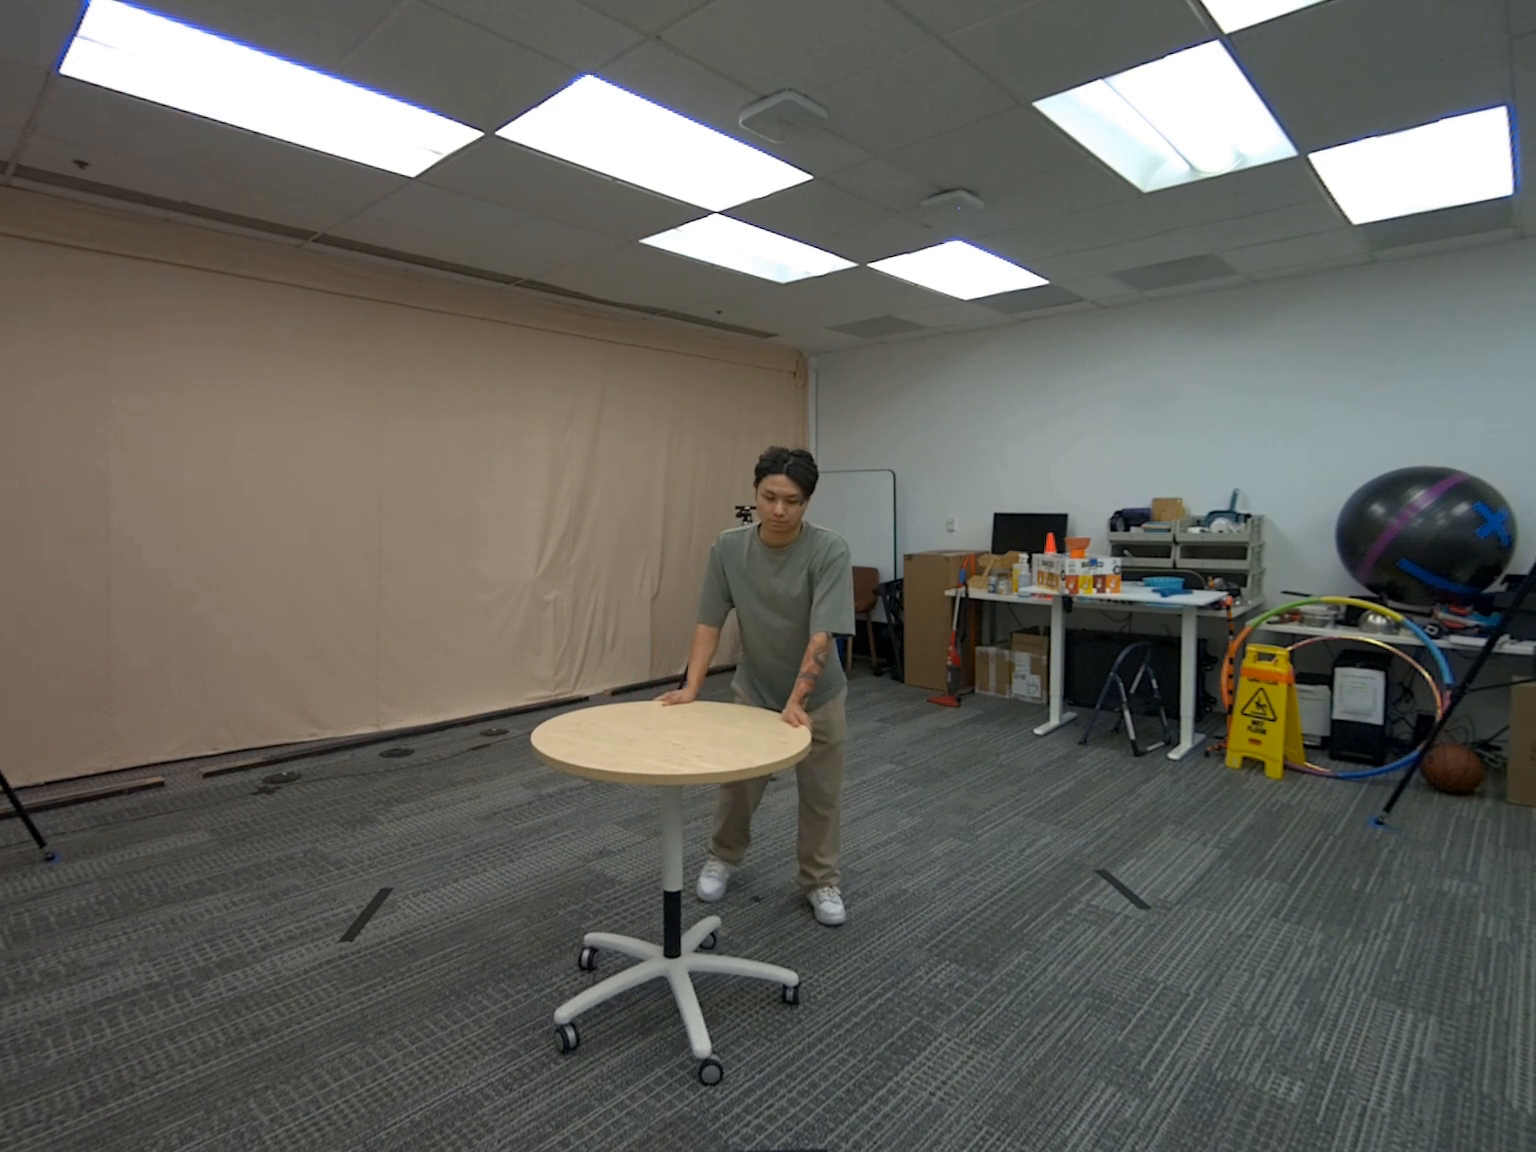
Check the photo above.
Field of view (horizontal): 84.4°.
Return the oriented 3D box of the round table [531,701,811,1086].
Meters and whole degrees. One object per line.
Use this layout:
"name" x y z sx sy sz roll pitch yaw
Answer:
"round table" -0.279 0.813 2.337 0.784 0.785 0.787 0 3 -2
